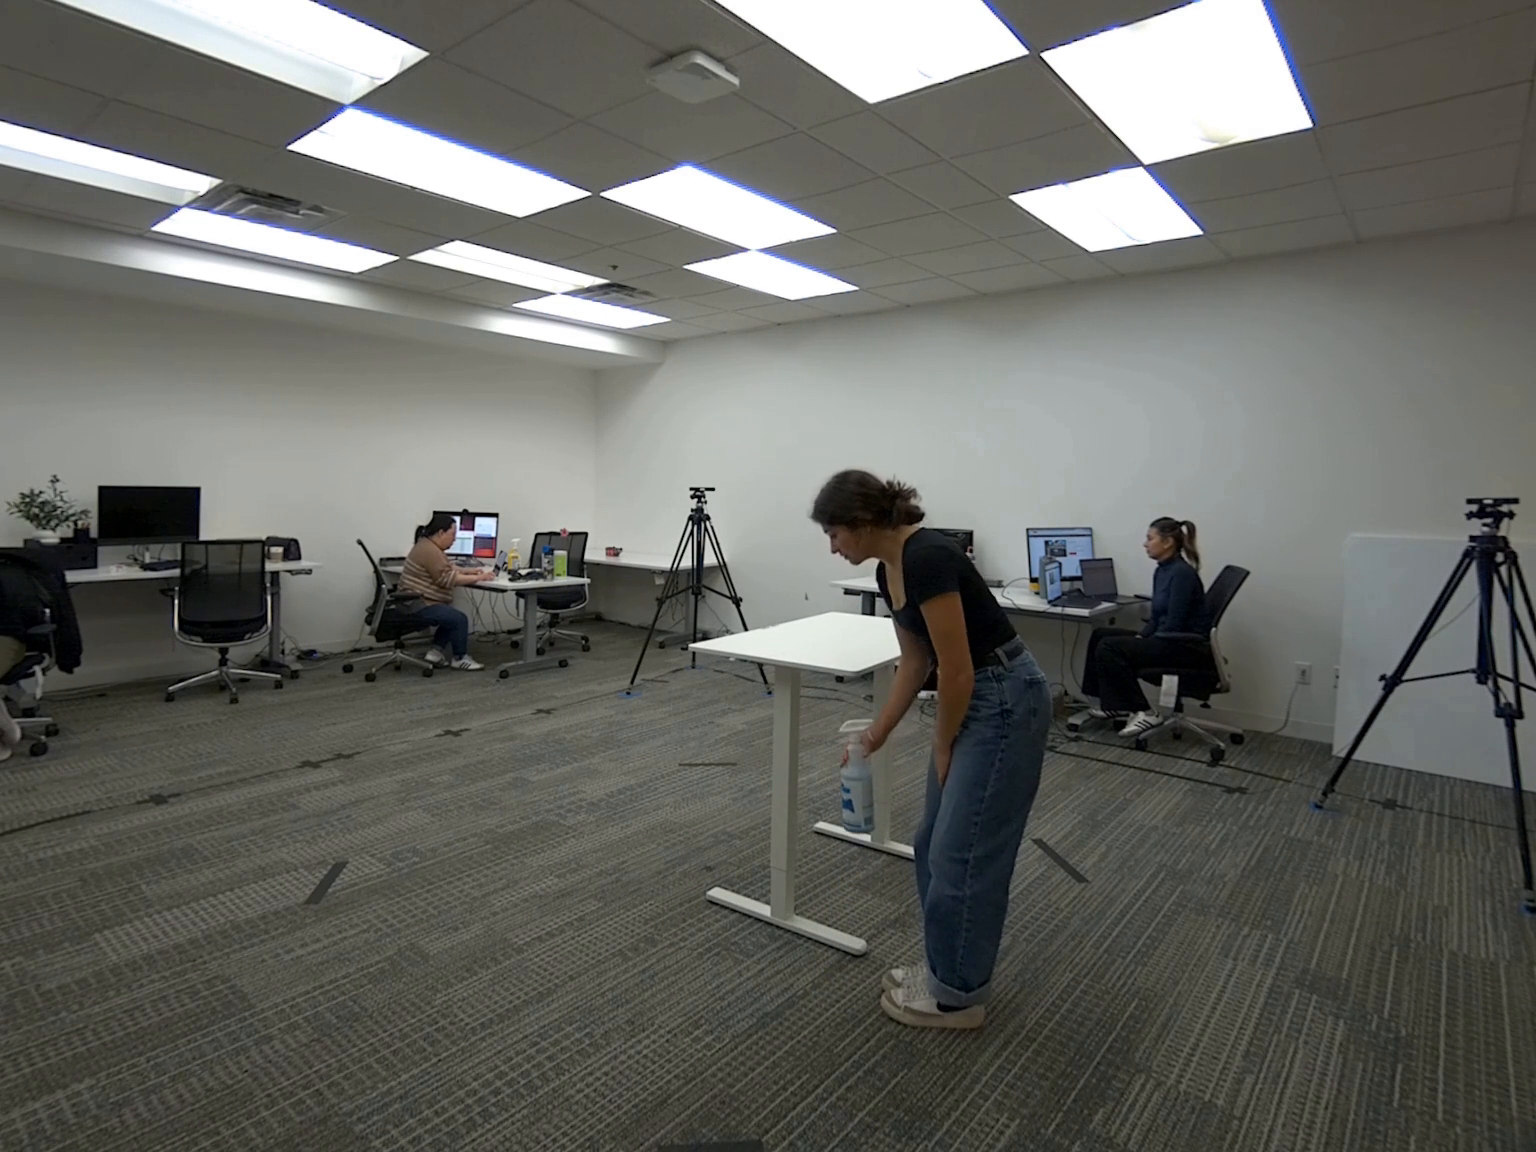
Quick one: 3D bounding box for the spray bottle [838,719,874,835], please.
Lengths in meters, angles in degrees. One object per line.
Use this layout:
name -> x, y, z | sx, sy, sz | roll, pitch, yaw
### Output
spray bottle -> 0.235, 0.541, 2.302 | 0.092, 0.296, 0.085 | 1, 4, 28
